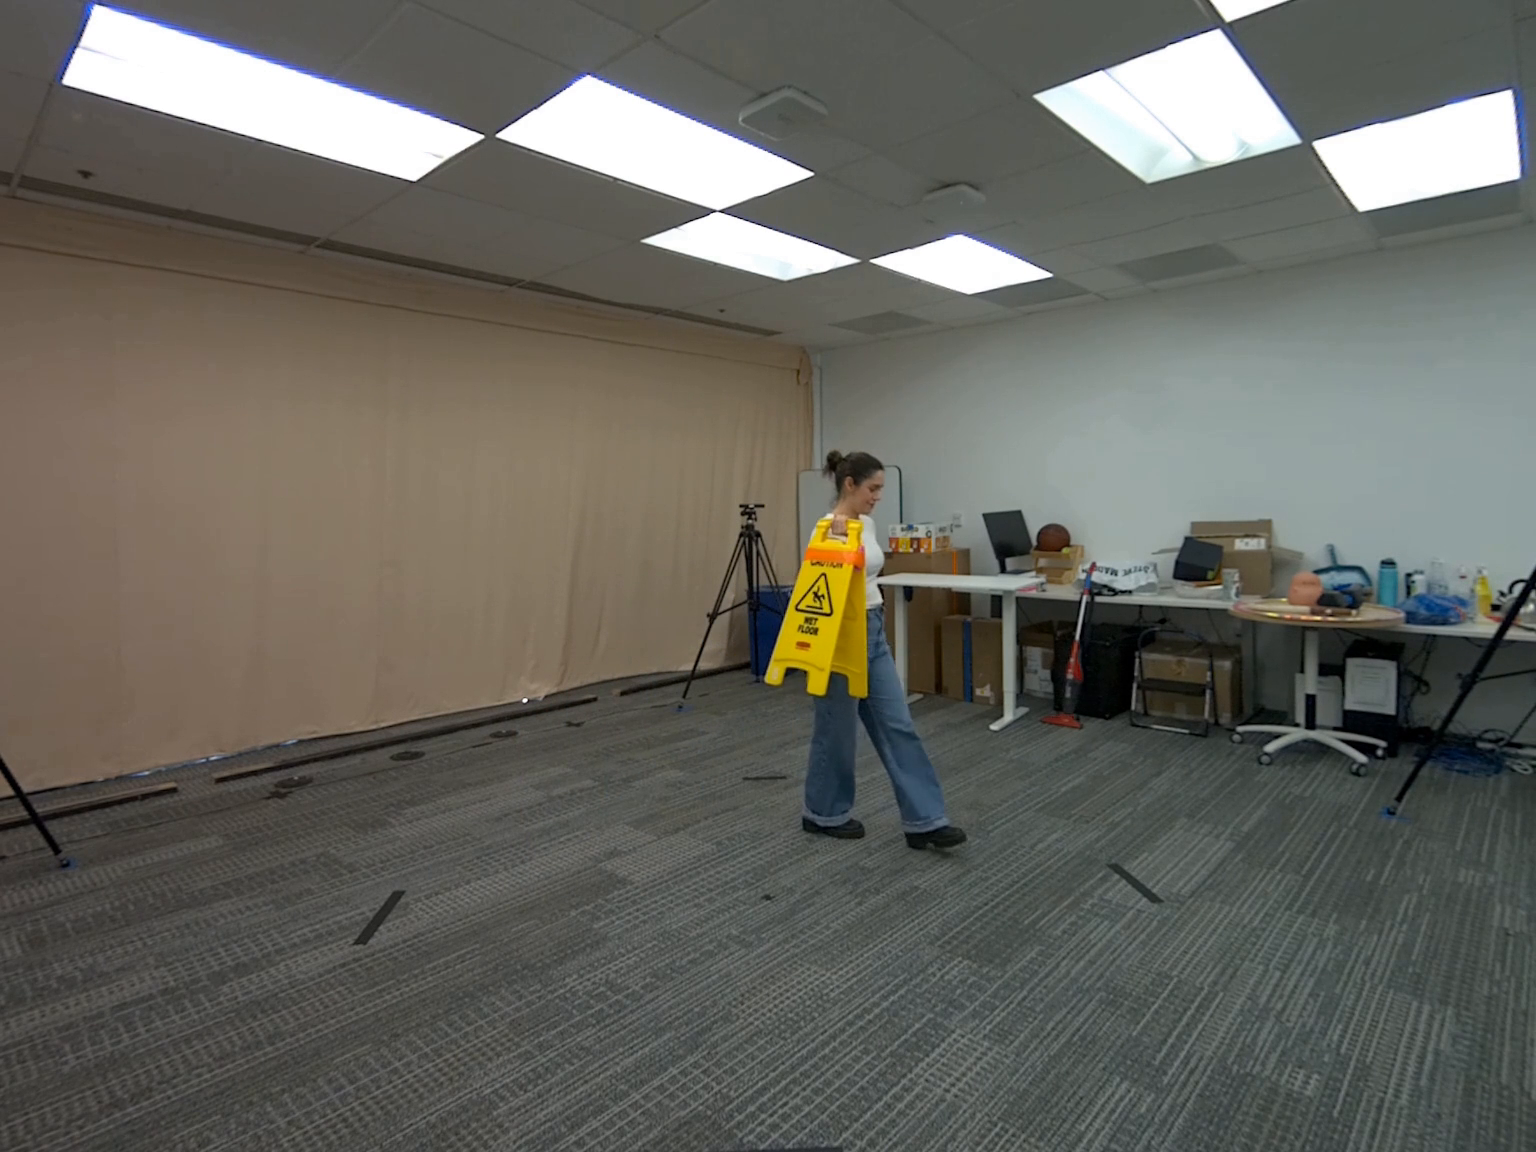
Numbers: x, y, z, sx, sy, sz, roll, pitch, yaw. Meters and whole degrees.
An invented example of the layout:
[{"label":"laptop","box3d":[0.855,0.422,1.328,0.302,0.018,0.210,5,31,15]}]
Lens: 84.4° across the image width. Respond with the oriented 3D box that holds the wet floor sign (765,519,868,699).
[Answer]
[{"label":"wet floor sign","box3d":[0.229,0.107,3.156,0.292,0.647,0.279,6,-4,42]}]
